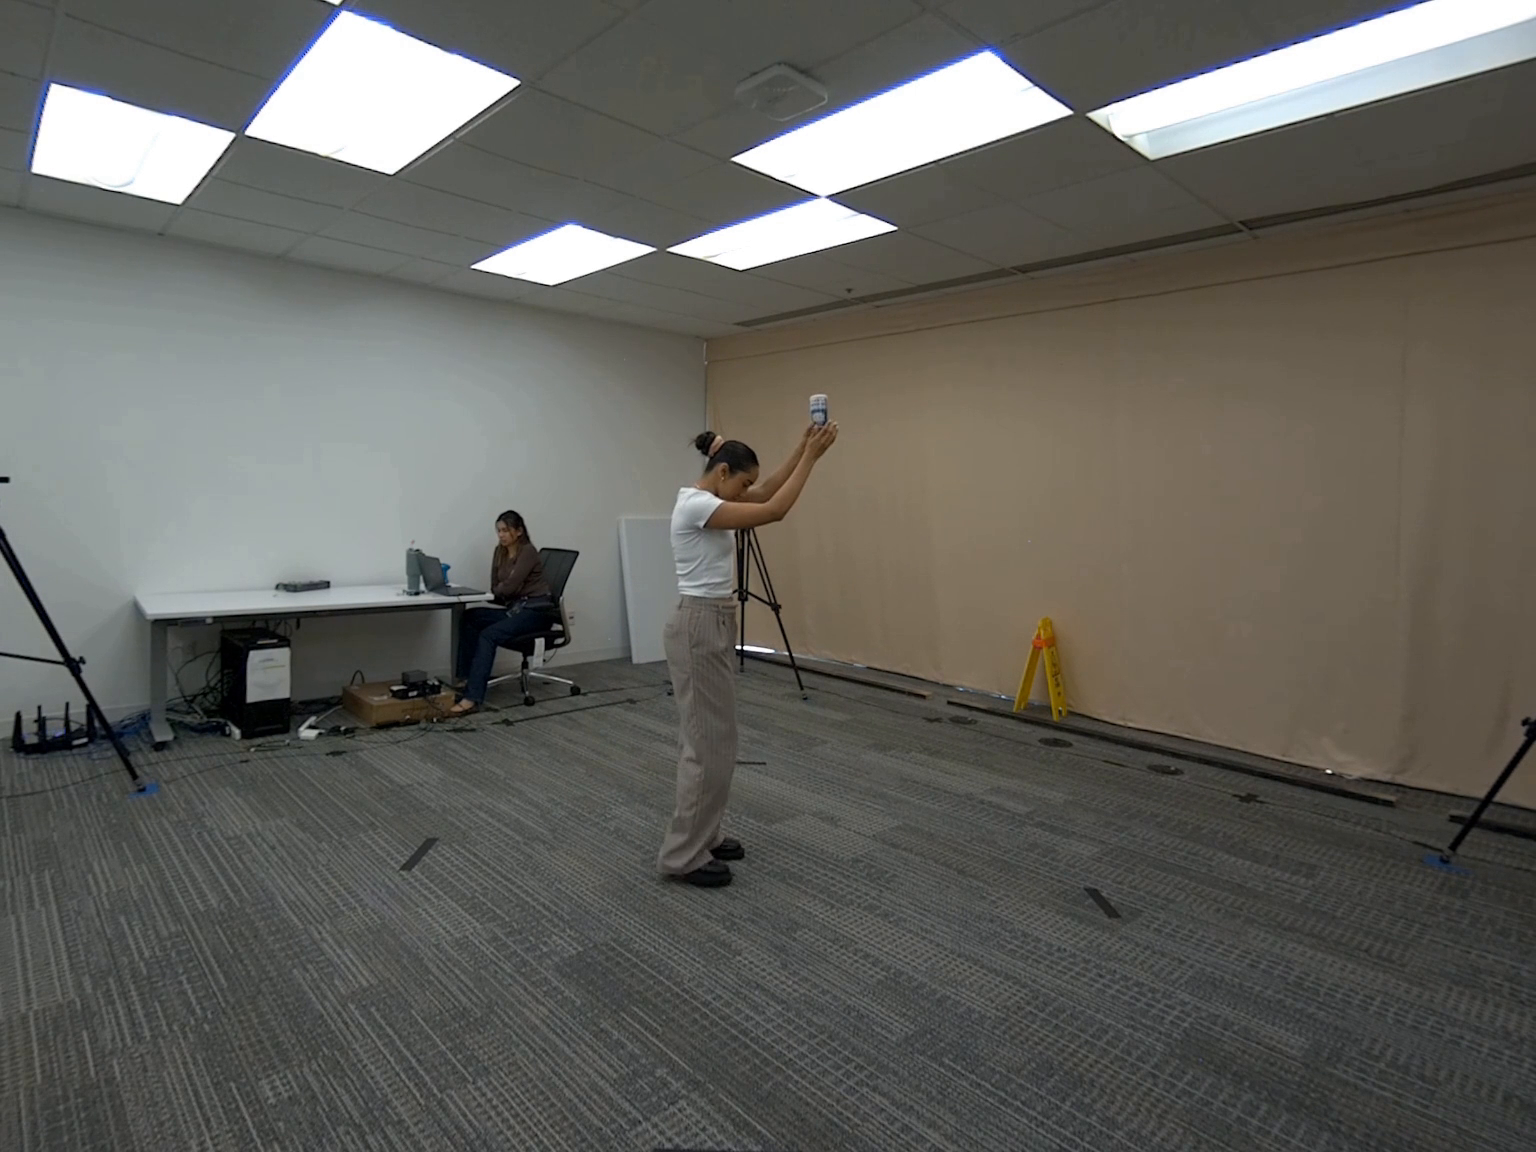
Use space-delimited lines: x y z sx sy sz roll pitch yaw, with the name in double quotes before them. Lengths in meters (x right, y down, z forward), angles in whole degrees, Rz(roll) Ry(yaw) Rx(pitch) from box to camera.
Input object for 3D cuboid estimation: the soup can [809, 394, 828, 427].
"soup can" 0.183 -0.598 3.069 0.067 0.122 0.067 0 -2 -1
